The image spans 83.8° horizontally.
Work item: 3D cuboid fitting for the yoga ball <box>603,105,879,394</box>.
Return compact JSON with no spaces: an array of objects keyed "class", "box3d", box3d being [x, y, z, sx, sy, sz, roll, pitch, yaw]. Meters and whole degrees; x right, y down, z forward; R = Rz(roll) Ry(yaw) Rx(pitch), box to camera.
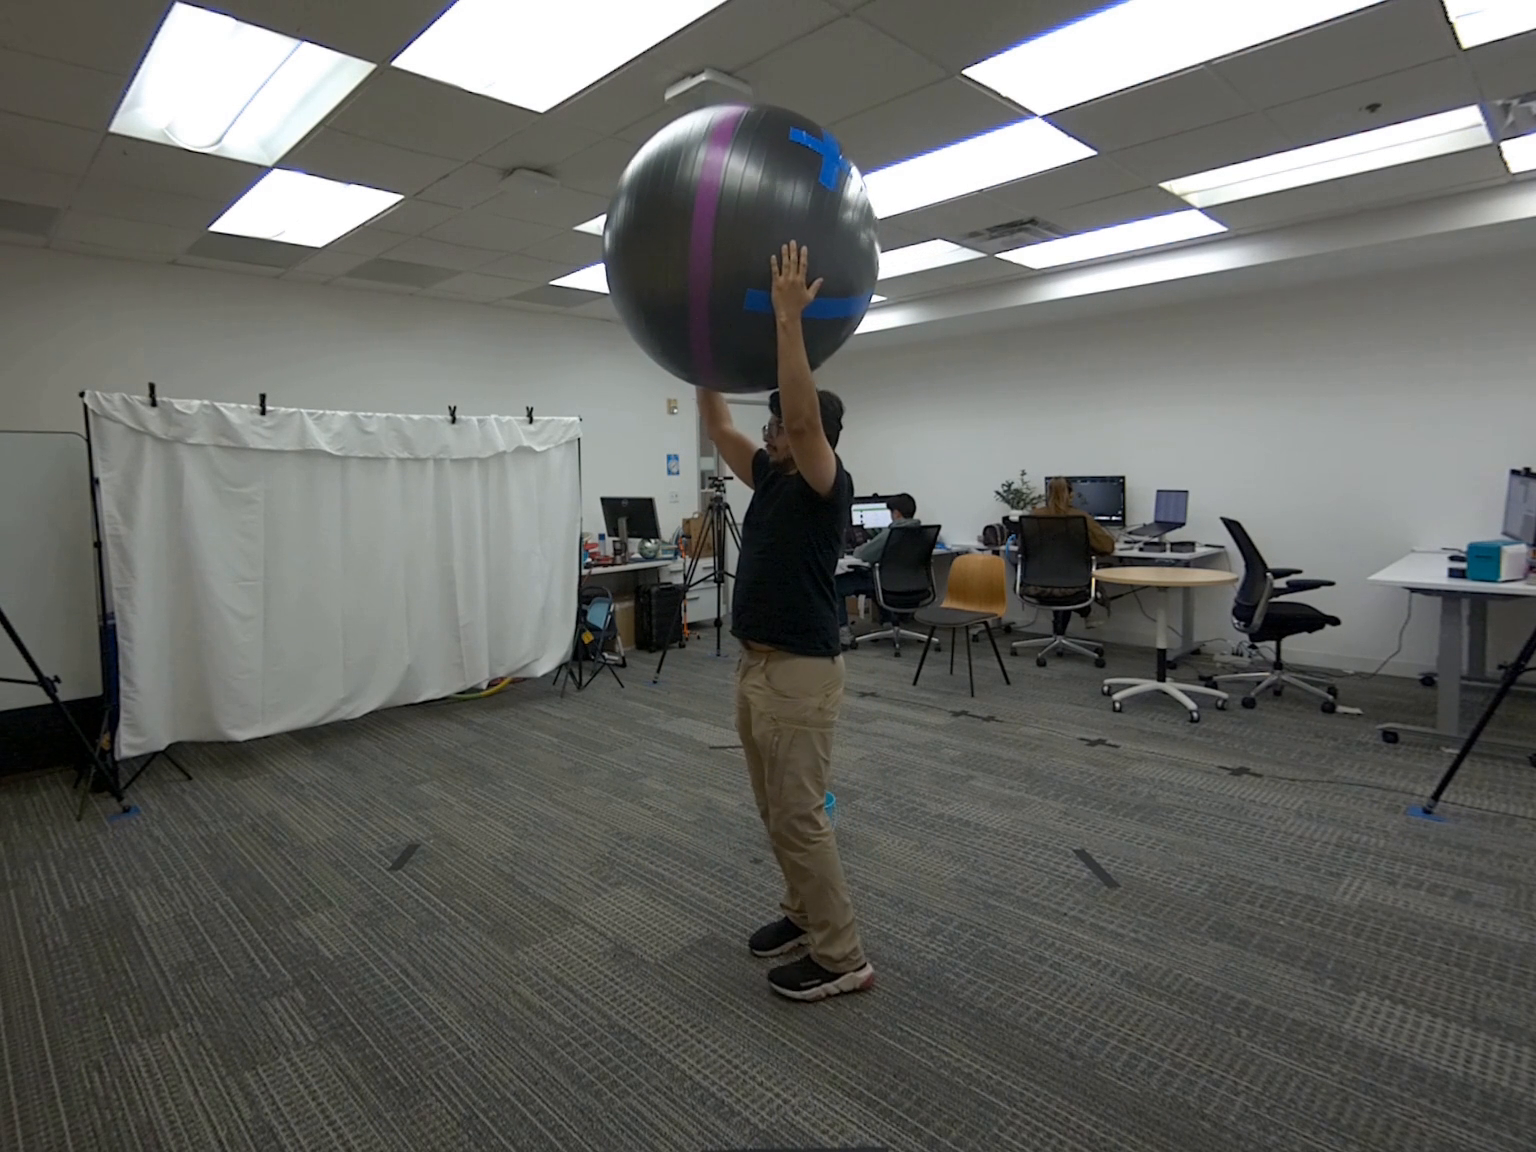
[{"class":"yoga ball","box3d":[-0.075,-0.883,2.357,0.757,0.755,0.762,-1,5,-2]}]
